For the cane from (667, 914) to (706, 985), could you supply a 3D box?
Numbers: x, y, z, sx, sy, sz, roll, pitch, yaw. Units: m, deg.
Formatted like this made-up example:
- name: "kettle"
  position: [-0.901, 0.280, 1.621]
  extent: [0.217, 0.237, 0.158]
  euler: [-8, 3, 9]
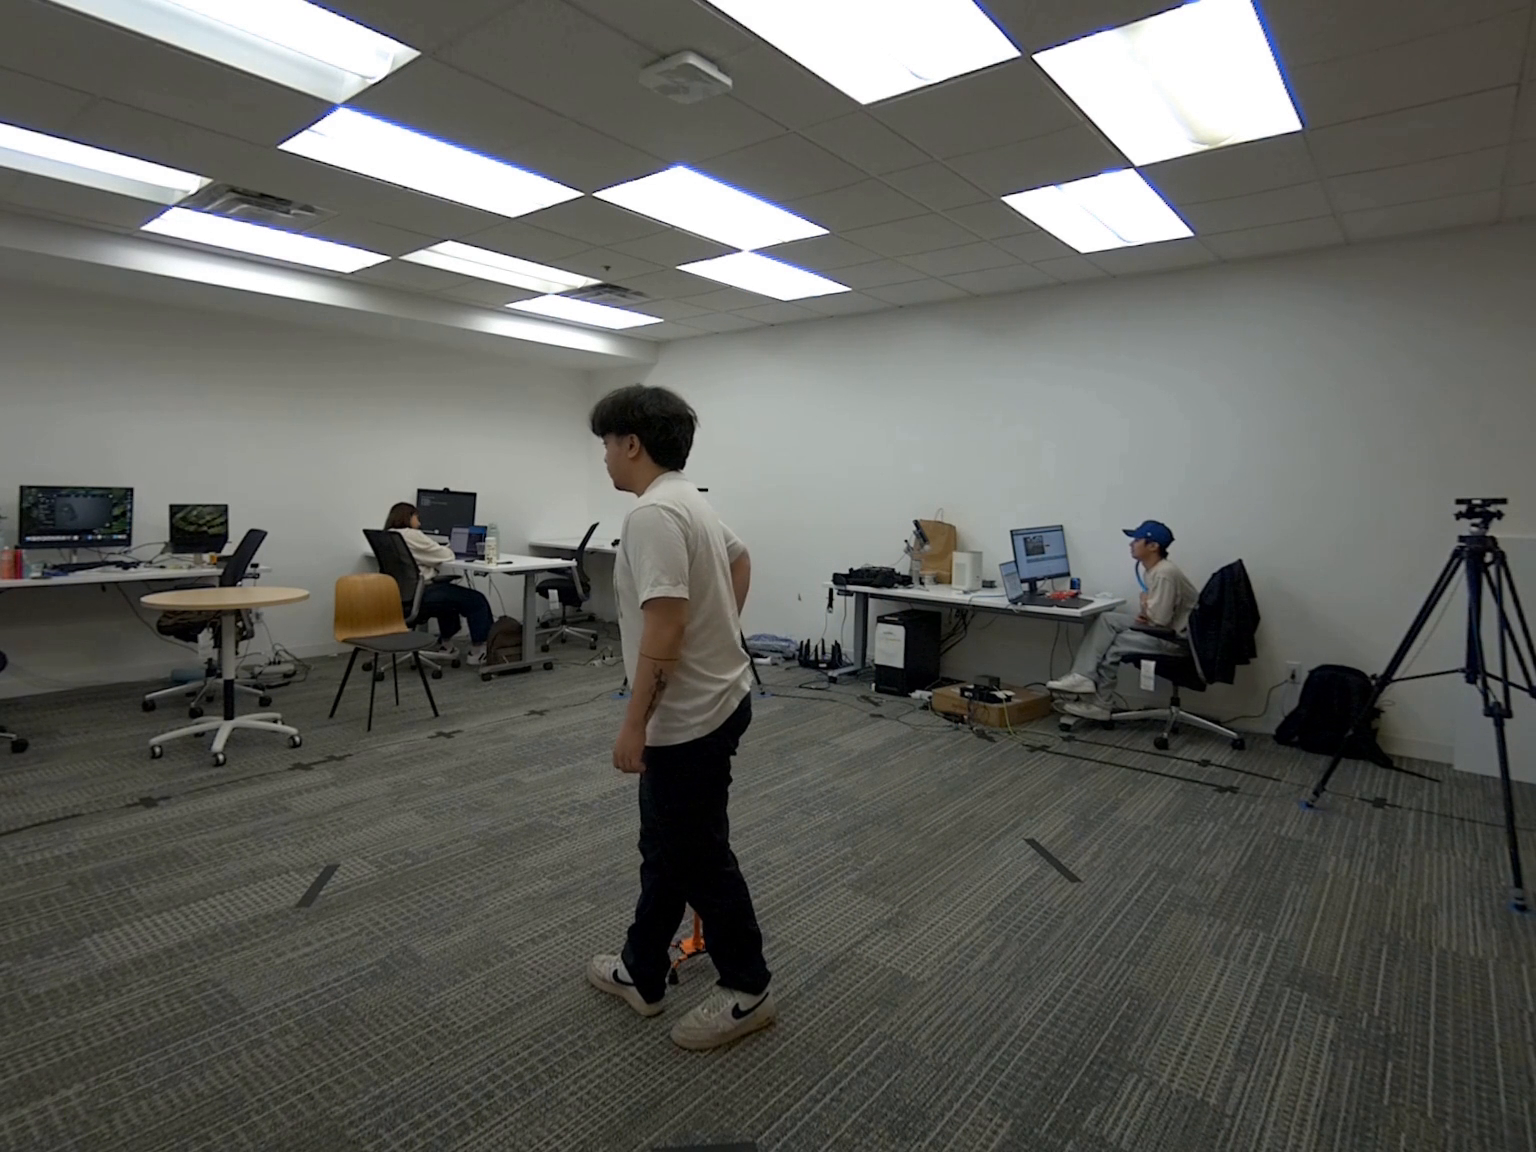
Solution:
- name: "cane"
  position: [-0.215, 0.671, 2.472]
  extent: [0.201, 0.906, 0.156]
  euler: [1, 2, -27]
